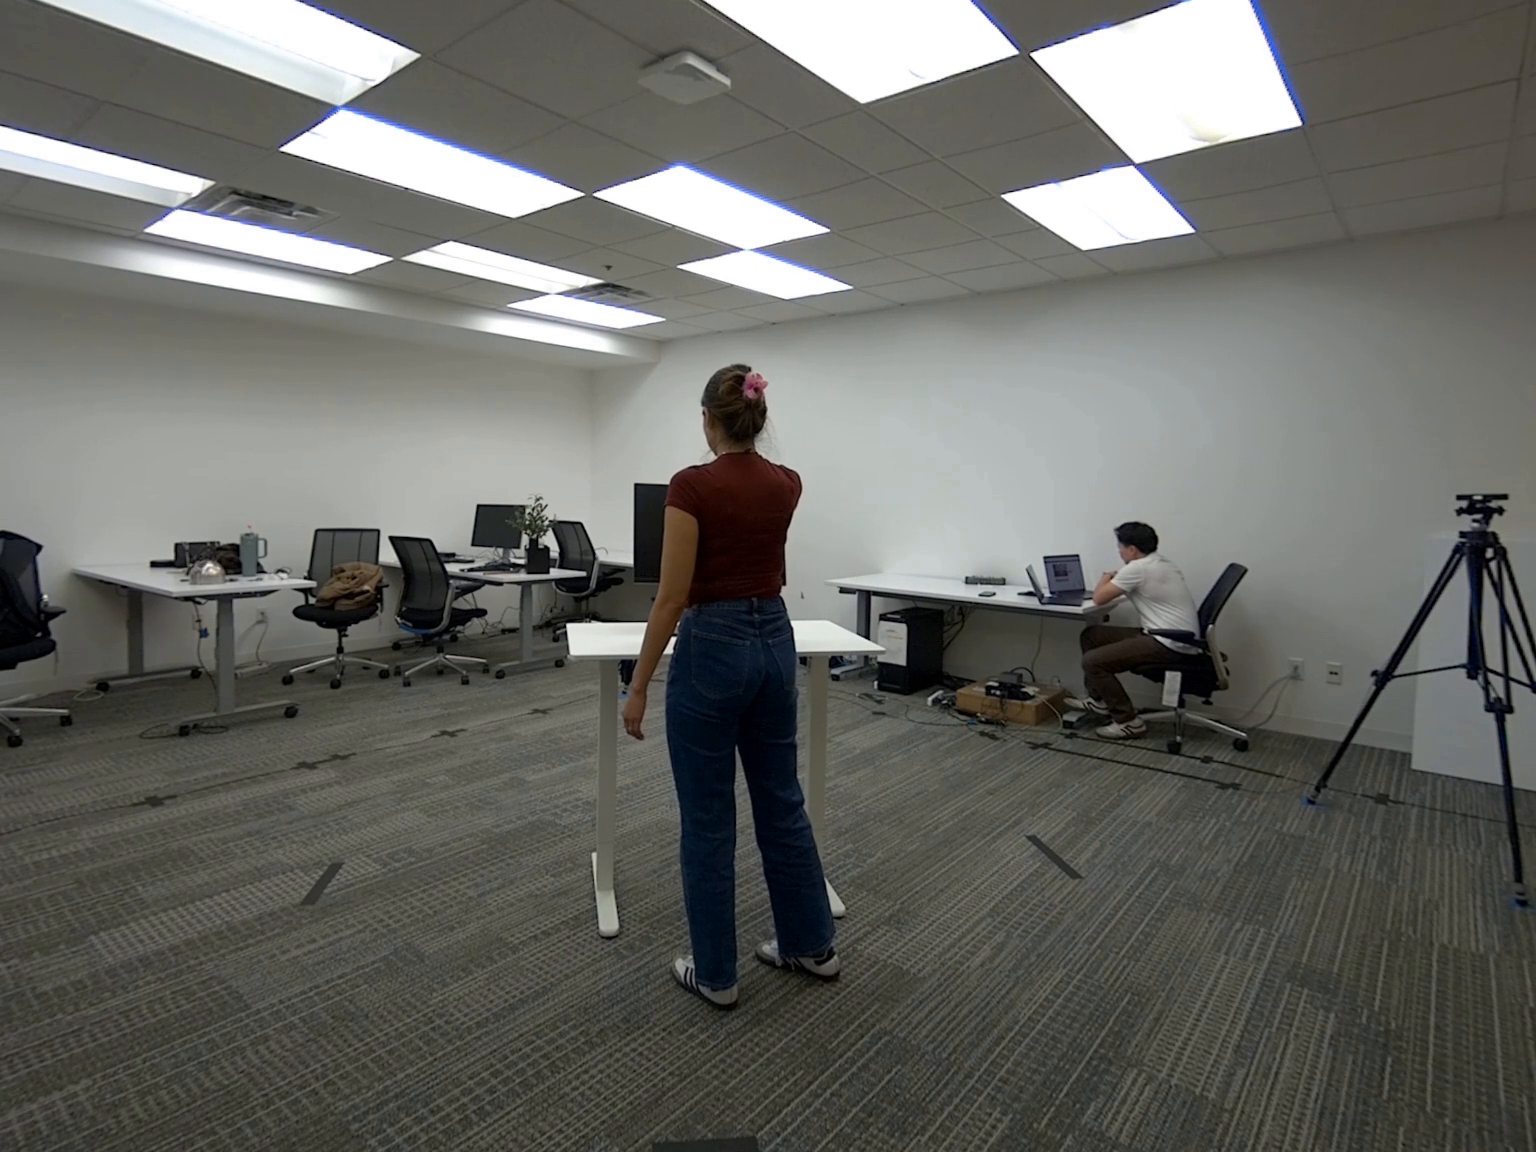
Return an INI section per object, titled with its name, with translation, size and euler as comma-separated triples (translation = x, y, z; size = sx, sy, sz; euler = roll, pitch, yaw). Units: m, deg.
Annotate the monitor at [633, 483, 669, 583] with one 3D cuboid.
[monitor]
translation = -0.220, -0.057, 2.994
size = 0.531, 0.522, 0.190
euler = 1, 1, -14
